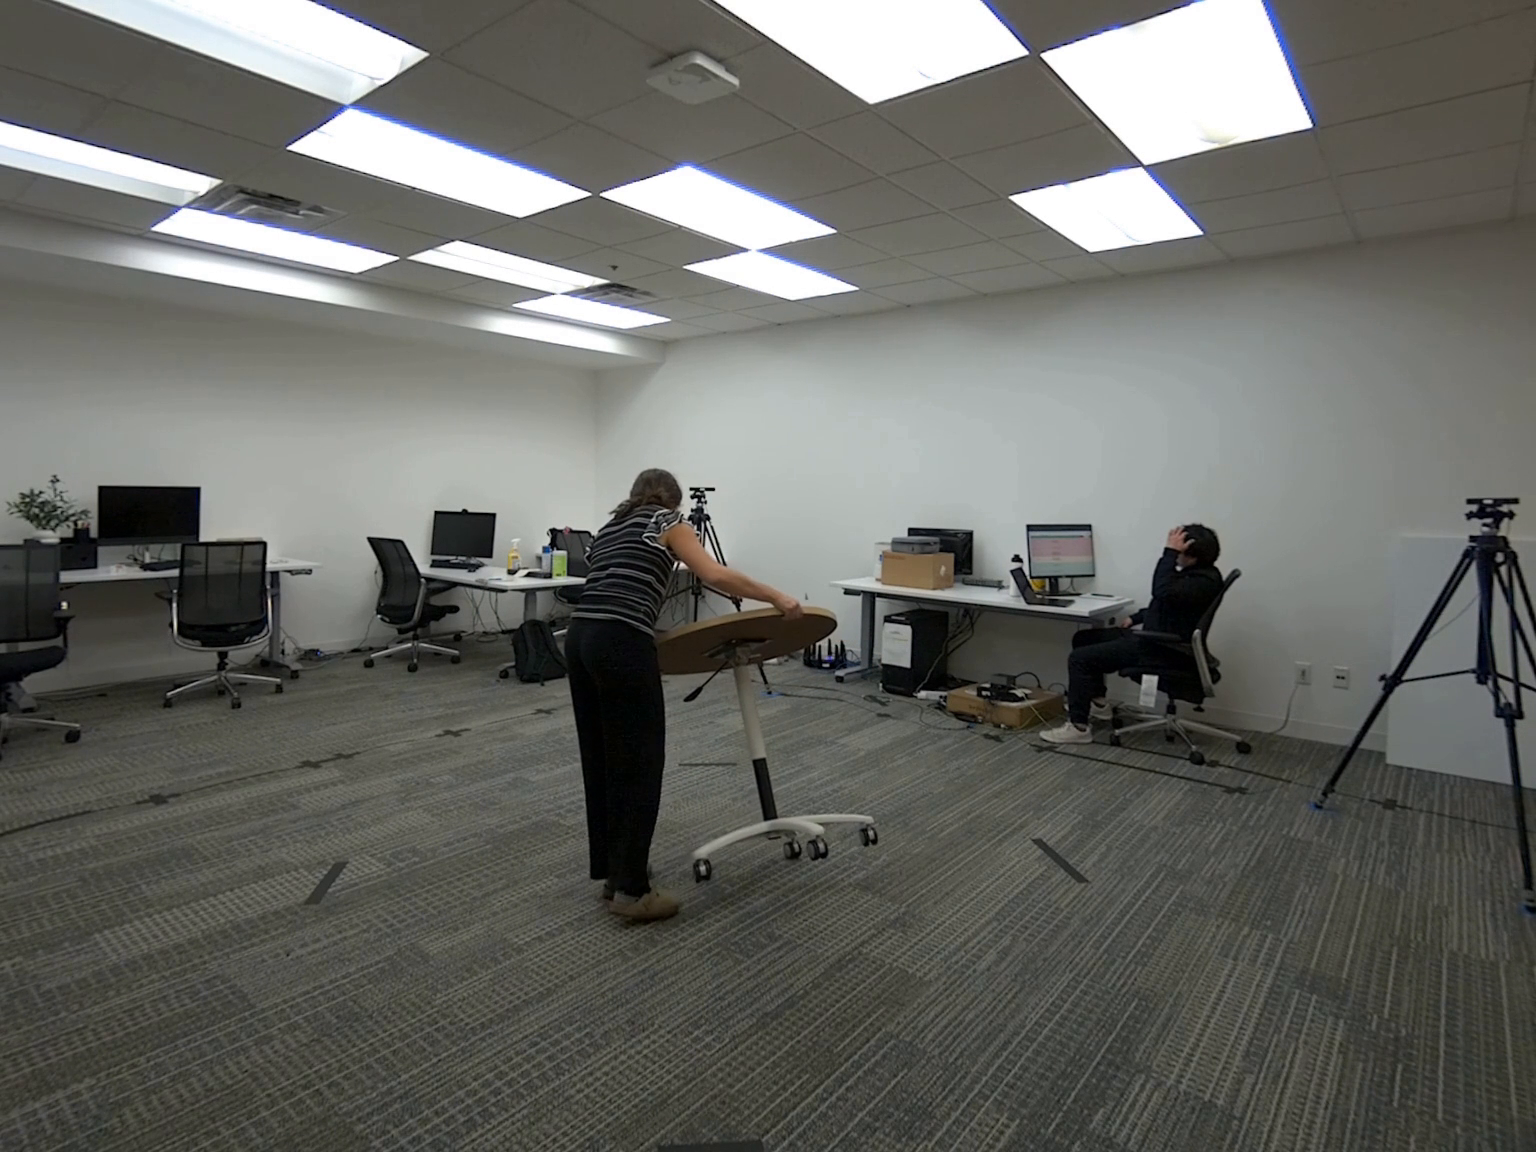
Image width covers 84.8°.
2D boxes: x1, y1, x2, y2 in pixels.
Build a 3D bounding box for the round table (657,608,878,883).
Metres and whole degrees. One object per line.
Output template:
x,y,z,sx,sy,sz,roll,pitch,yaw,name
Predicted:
-0.045,0.607,3.026,0.761,0.811,0.751,-10,-18,-5,round table
